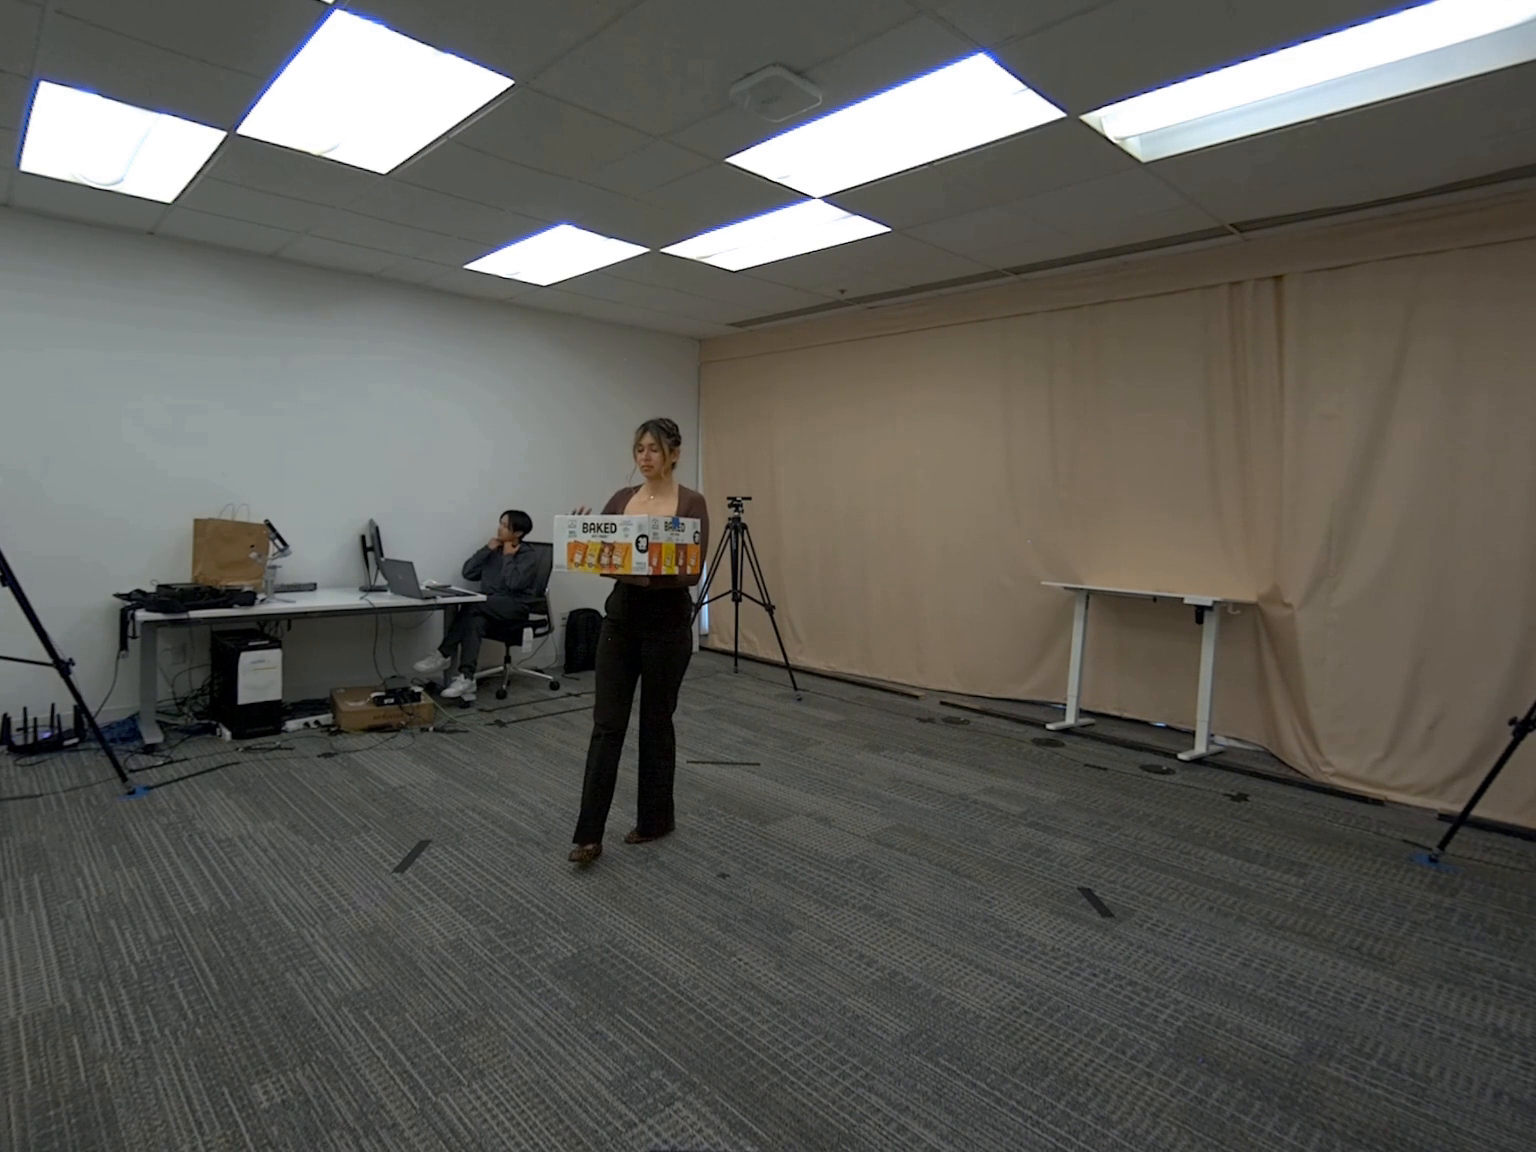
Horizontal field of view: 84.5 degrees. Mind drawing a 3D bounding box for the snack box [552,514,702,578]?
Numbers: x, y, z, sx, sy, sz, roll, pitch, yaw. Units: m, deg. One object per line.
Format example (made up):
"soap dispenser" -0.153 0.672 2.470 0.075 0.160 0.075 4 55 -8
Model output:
"snack box" -0.524 -0.116 3.038 0.413 0.206 0.333 2 0 27
